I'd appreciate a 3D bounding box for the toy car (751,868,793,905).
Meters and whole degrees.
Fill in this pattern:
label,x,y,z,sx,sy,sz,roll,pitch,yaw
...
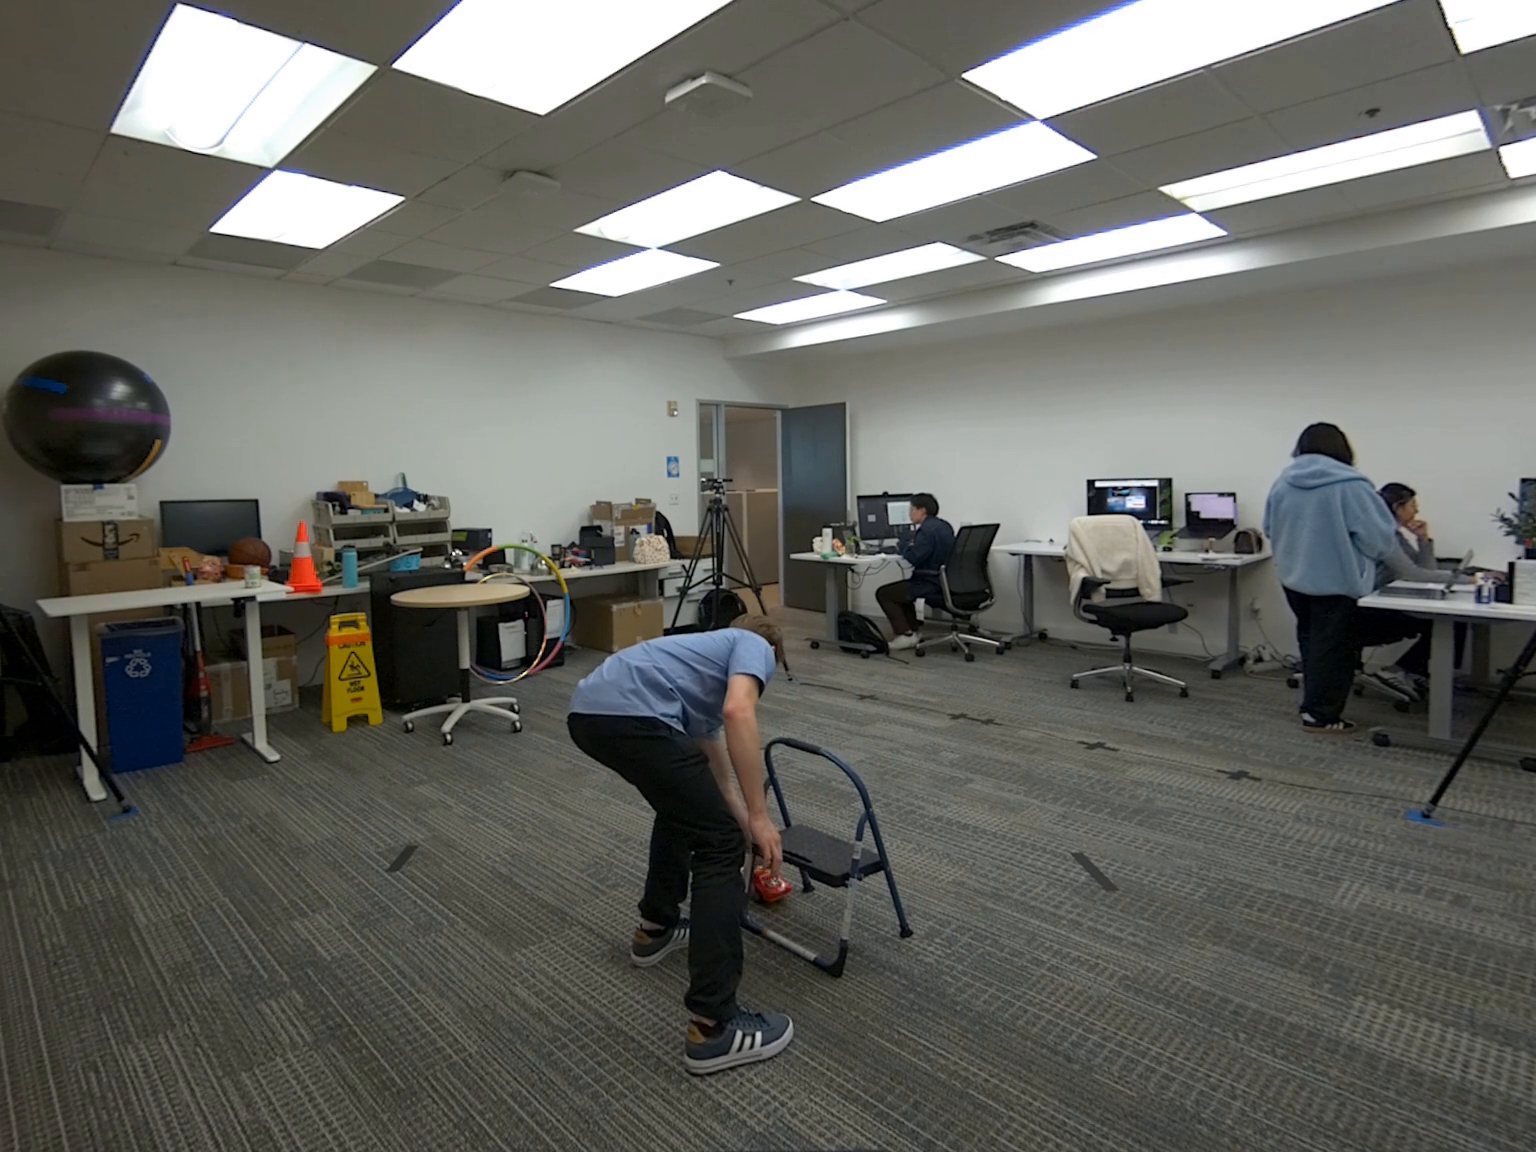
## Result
label,x,y,z,sx,sy,sz,roll,pitch,yaw
toy car,-0.026,1.034,2.887,0.127,0.083,0.260,-5,-3,-36
